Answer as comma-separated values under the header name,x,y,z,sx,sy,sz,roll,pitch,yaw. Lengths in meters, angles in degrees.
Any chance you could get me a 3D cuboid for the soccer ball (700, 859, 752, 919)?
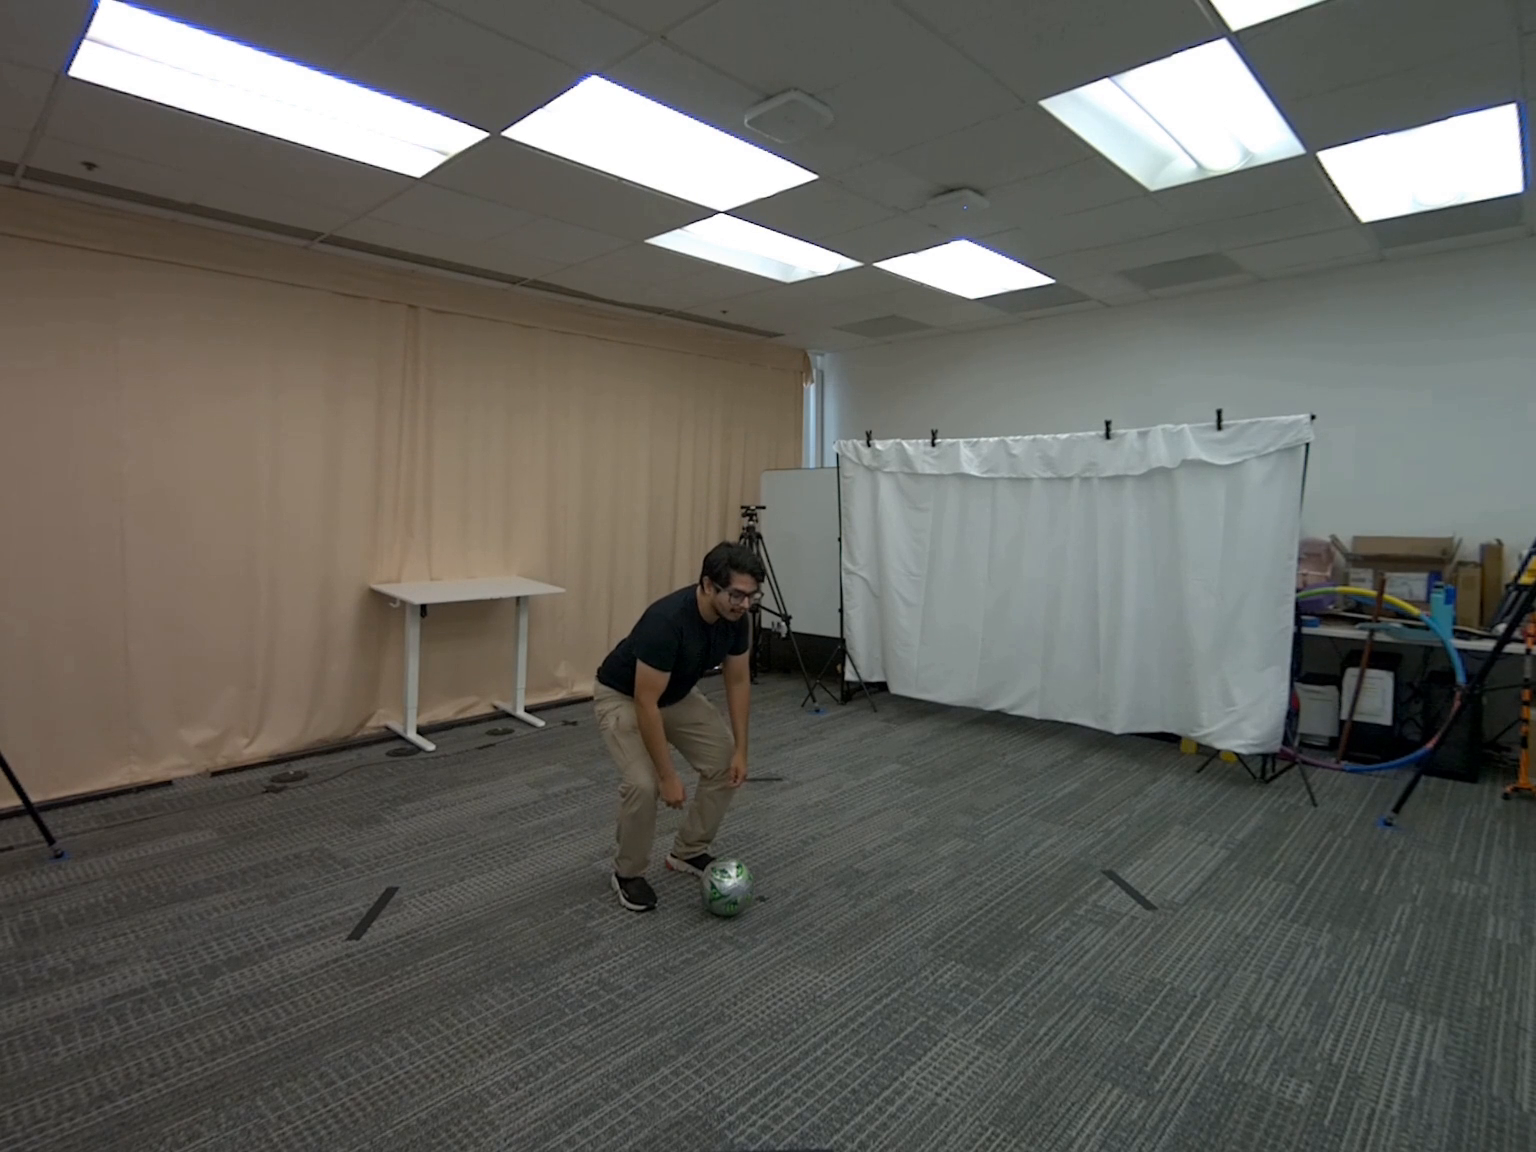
name,x,y,z,sx,sy,sz,roll,pitch,yaw
soccer ball,-0.135,1.064,2.872,0.187,0.187,0.188,0,4,-2
